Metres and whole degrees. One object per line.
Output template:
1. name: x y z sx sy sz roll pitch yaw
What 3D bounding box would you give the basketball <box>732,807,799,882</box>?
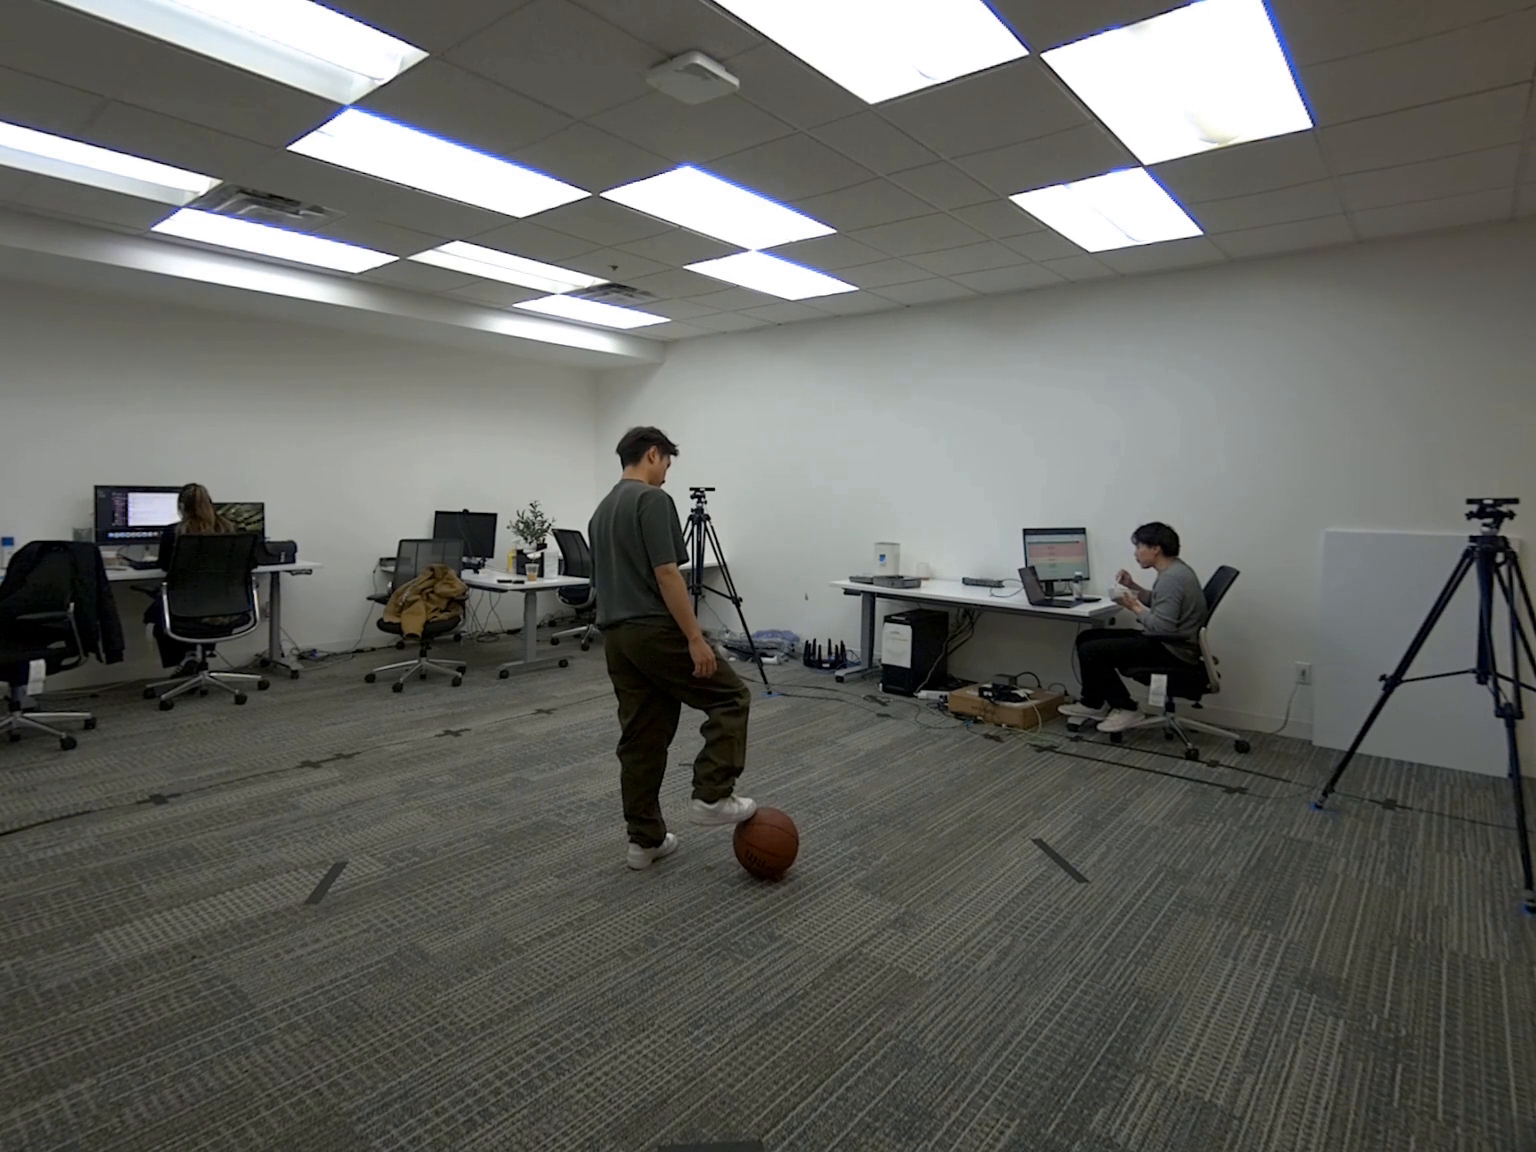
1. basketball: -0.012 0.957 3.071 0.235 0.235 0.237 1 4 -2
